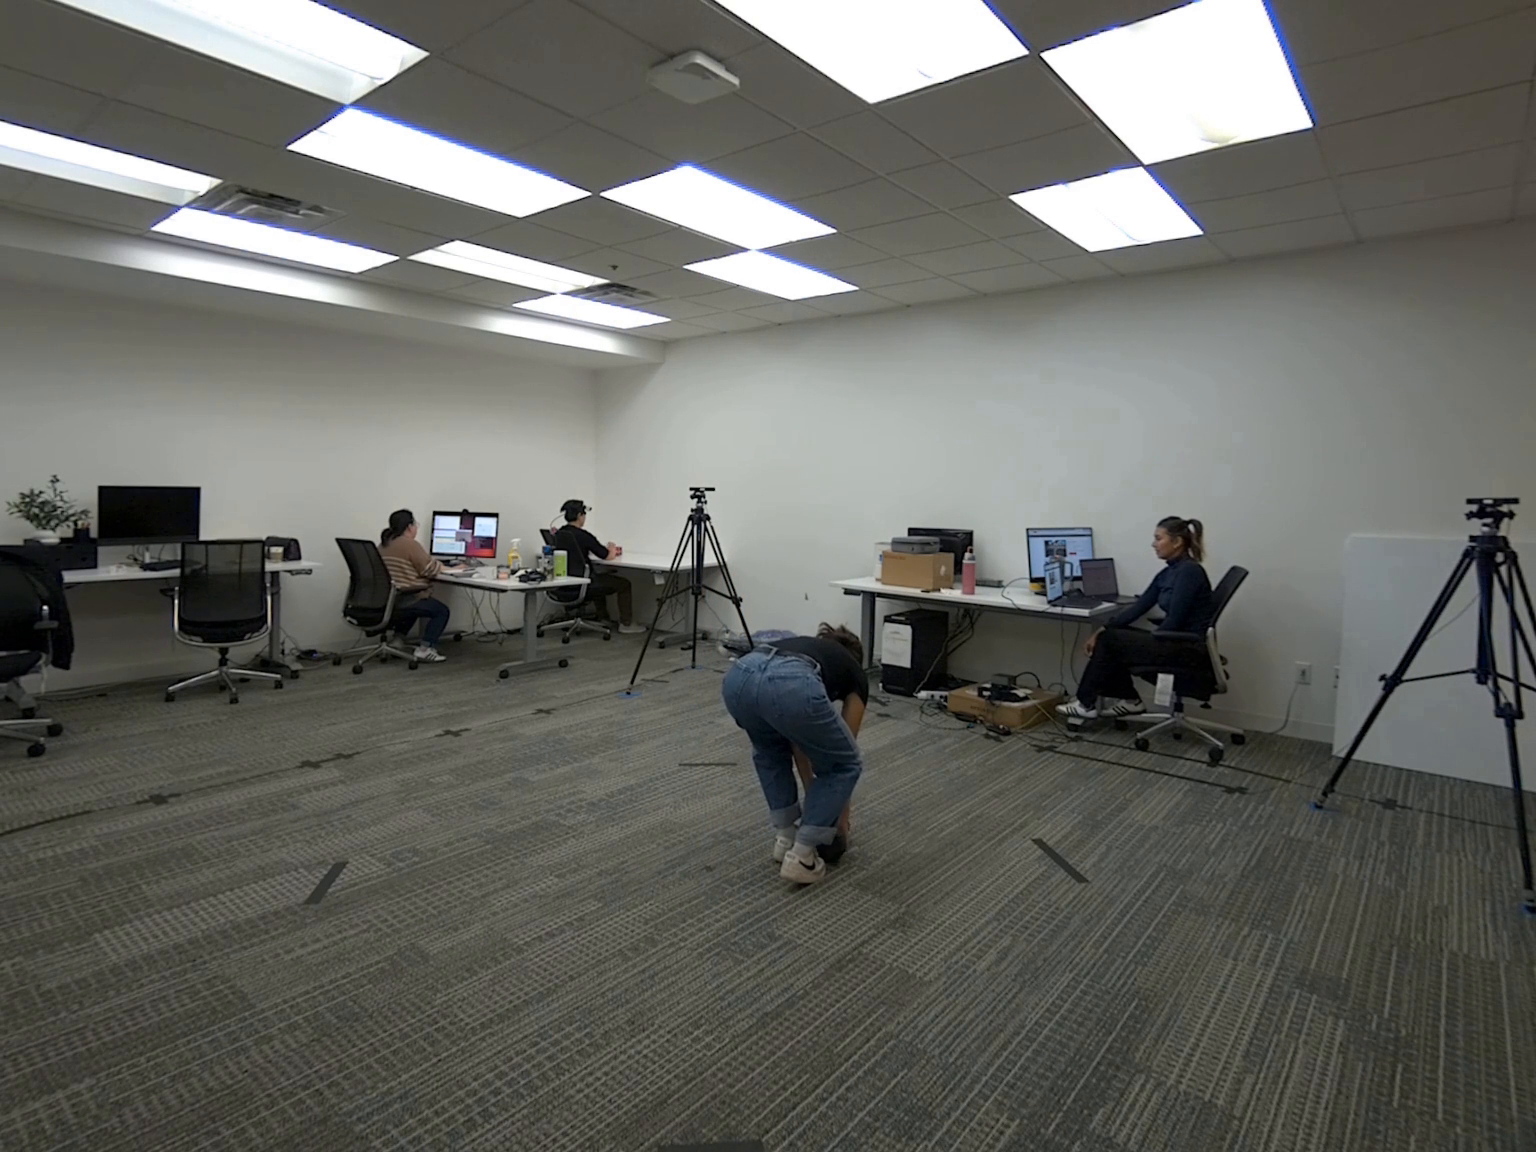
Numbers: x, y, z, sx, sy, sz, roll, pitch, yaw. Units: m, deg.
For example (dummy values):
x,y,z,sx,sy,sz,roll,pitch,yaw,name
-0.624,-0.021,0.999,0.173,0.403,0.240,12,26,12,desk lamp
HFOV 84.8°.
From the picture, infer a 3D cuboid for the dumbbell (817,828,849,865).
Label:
x,y,z,sx,sy,sz,roll,pitch,yaw,name
0.243,0.982,3.287,0.109,0.123,0.292,39,7,1,dumbbell
